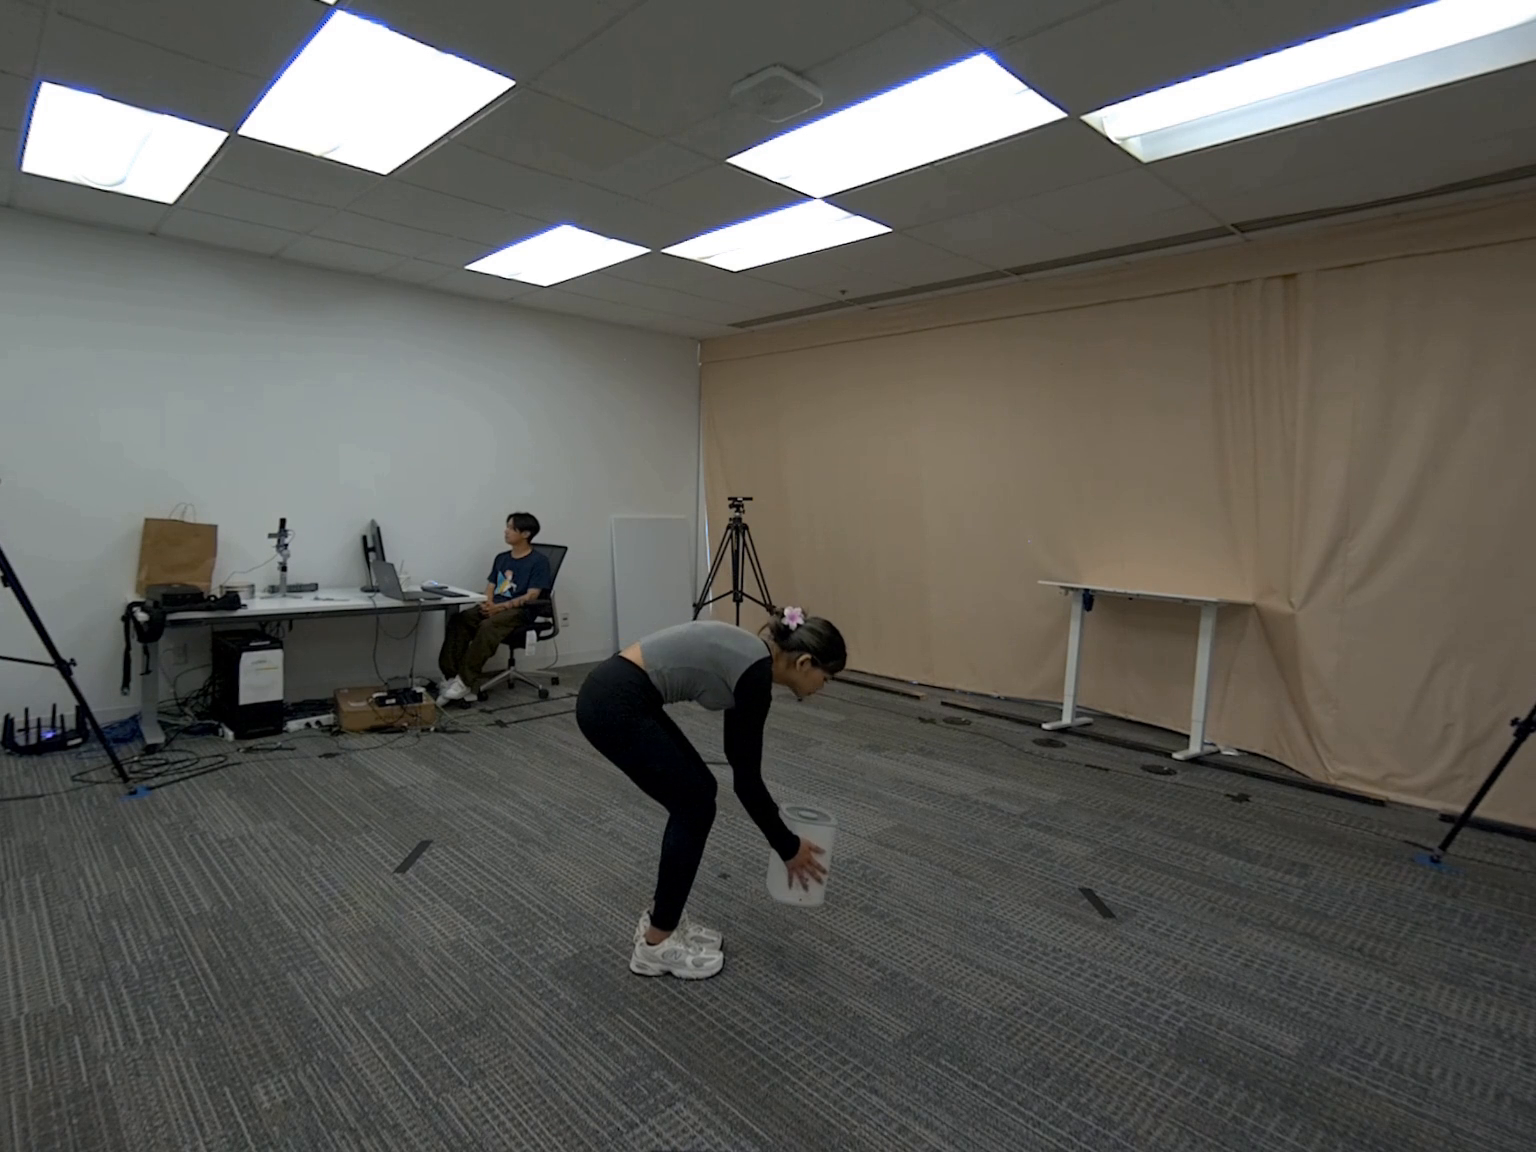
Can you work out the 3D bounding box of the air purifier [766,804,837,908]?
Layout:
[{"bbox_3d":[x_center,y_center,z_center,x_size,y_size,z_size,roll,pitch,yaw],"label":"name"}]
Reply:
[{"bbox_3d":[0.082,0.856,2.581,0.170,0.265,0.173,11,1,-8],"label":"air purifier"}]
